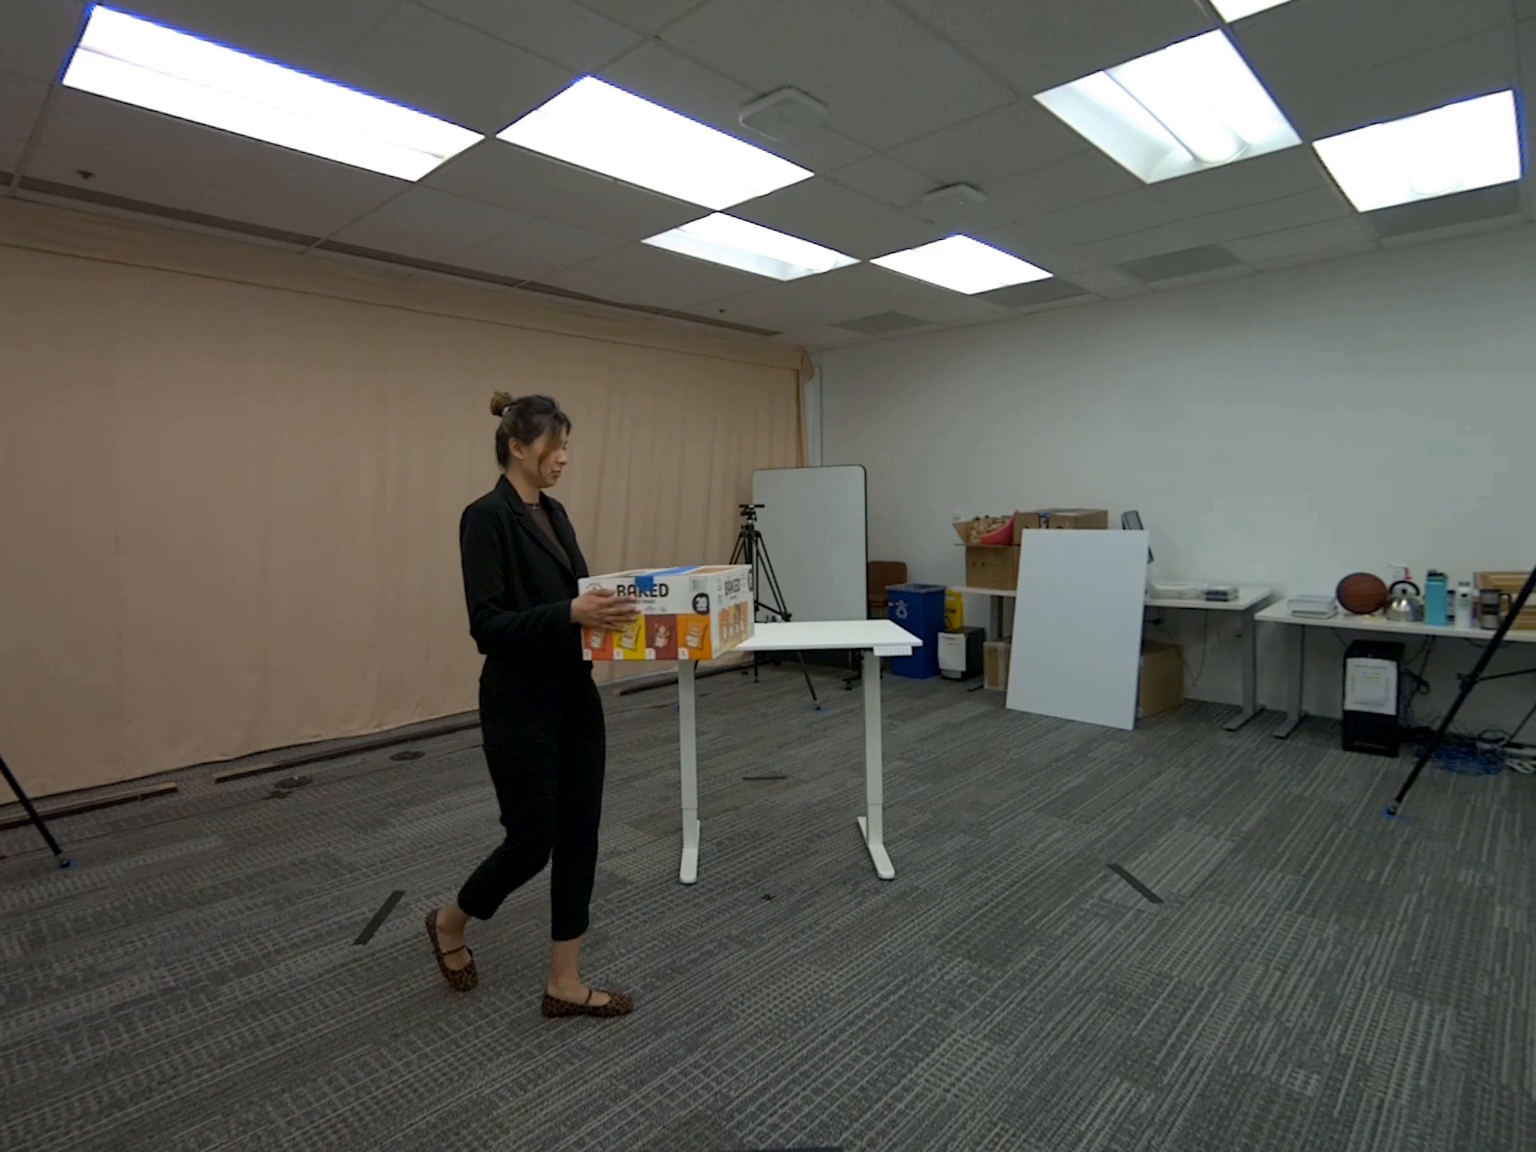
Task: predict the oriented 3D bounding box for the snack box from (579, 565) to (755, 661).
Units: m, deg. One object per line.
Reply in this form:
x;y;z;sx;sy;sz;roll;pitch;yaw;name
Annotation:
-0.253;0.092;2.208;0.346;0.205;0.399;-2;3;15;snack box
